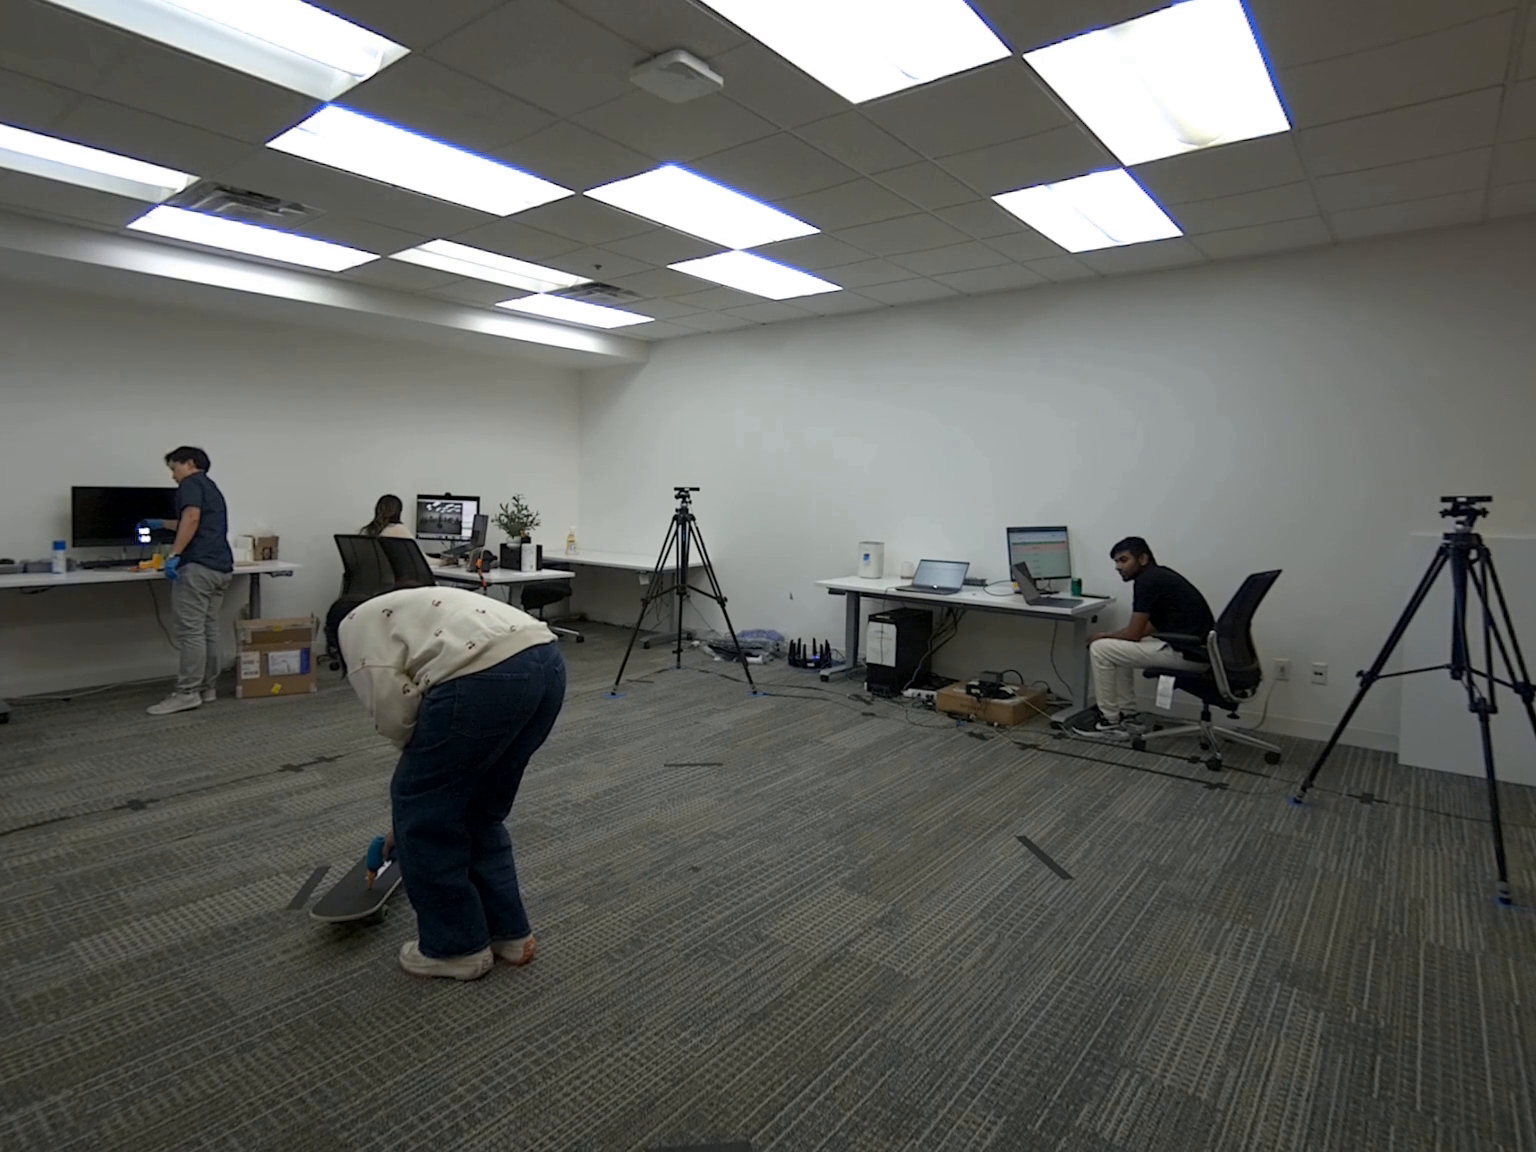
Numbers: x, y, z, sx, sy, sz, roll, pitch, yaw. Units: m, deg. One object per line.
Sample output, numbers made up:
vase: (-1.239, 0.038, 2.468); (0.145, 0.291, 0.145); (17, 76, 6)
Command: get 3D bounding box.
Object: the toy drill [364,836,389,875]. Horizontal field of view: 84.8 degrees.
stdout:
toy drill: (-1.245, 0.927, 2.738); (0.145, 0.169, 0.061); (13, 2, -3)
